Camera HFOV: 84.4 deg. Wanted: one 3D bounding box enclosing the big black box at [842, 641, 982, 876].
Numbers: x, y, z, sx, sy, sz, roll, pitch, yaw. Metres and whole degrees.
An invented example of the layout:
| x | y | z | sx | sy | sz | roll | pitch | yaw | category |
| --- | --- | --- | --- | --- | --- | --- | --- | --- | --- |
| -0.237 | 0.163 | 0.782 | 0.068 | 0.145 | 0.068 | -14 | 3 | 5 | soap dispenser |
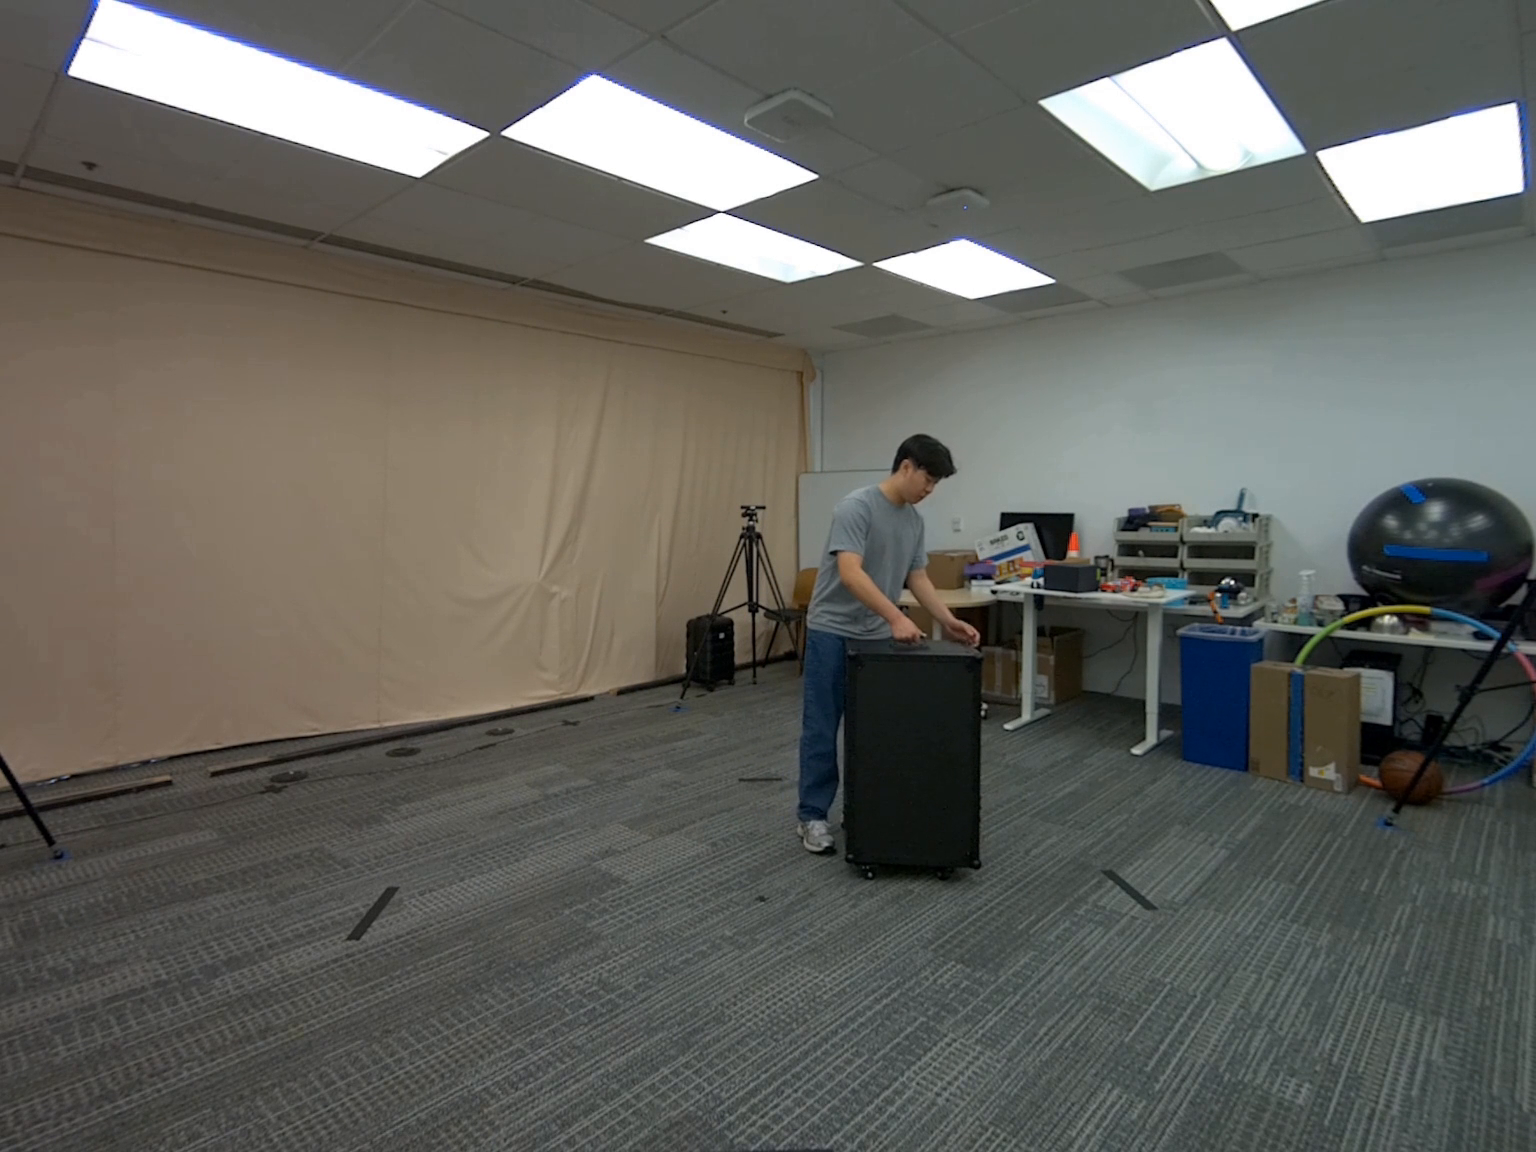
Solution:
| x | y | z | sx | sy | sz | roll | pitch | yaw | category |
| --- | --- | --- | --- | --- | --- | --- | --- | --- | --- |
| 0.547 | 0.696 | 3.254 | 0.525 | 0.860 | 0.394 | 0 | 2 | 5 | big black box |
